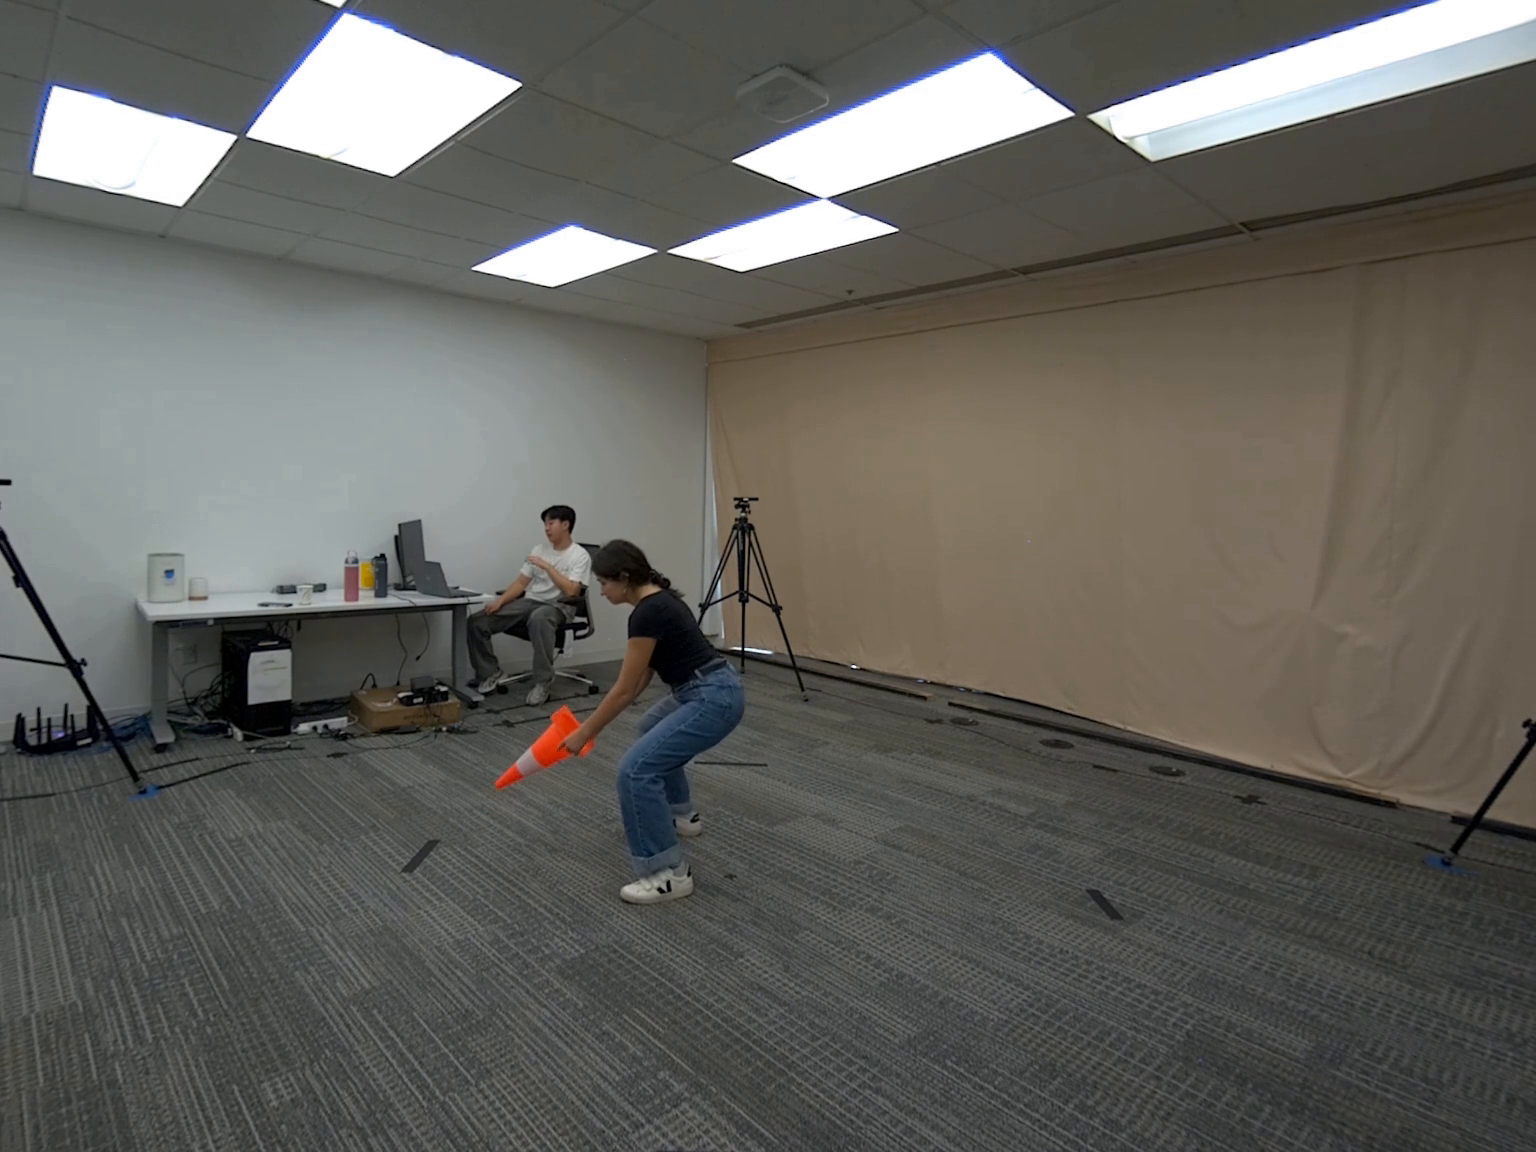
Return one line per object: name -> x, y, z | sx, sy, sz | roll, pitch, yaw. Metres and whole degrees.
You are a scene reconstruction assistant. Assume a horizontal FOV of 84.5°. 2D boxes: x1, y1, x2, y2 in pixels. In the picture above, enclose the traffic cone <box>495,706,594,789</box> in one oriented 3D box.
traffic cone -> -0.906, 0.702, 3.271 | 0.384, 0.204, 0.204 | -35, 3, 4
